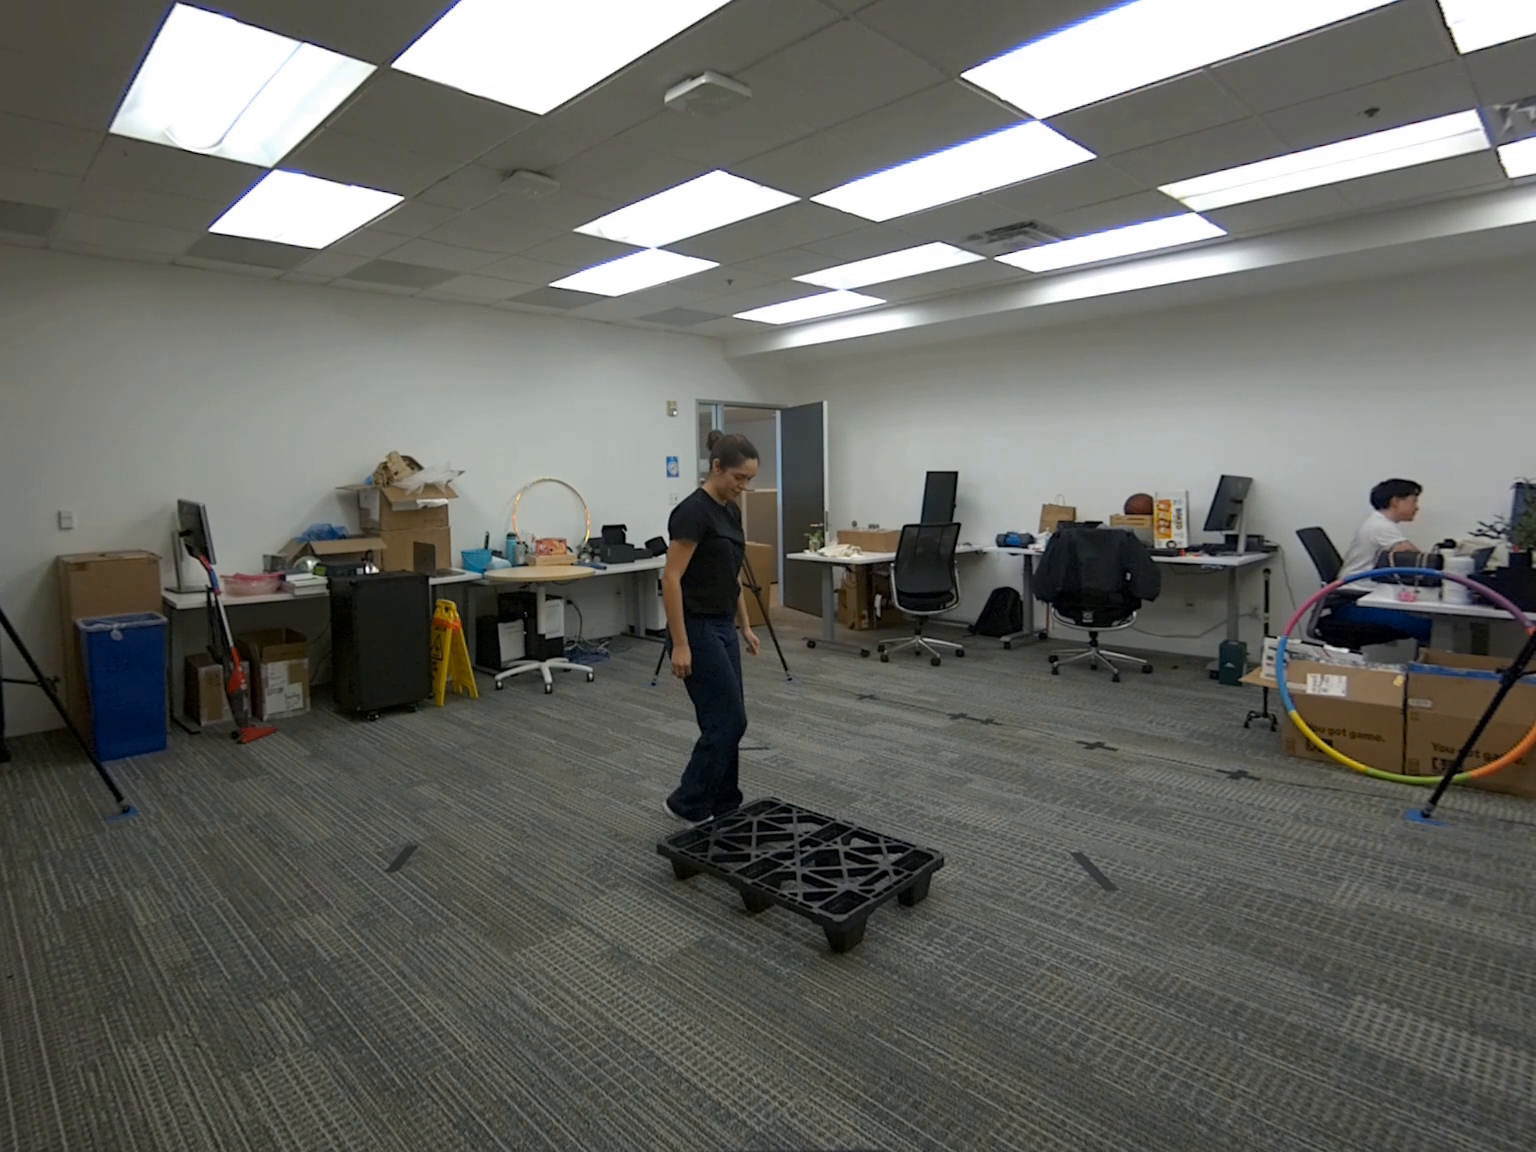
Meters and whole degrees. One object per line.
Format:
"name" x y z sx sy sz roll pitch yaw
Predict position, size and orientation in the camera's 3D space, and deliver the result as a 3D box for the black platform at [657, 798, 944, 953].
"black platform" 0.101 0.997 2.923 0.830 0.142 0.590 5 9 42
